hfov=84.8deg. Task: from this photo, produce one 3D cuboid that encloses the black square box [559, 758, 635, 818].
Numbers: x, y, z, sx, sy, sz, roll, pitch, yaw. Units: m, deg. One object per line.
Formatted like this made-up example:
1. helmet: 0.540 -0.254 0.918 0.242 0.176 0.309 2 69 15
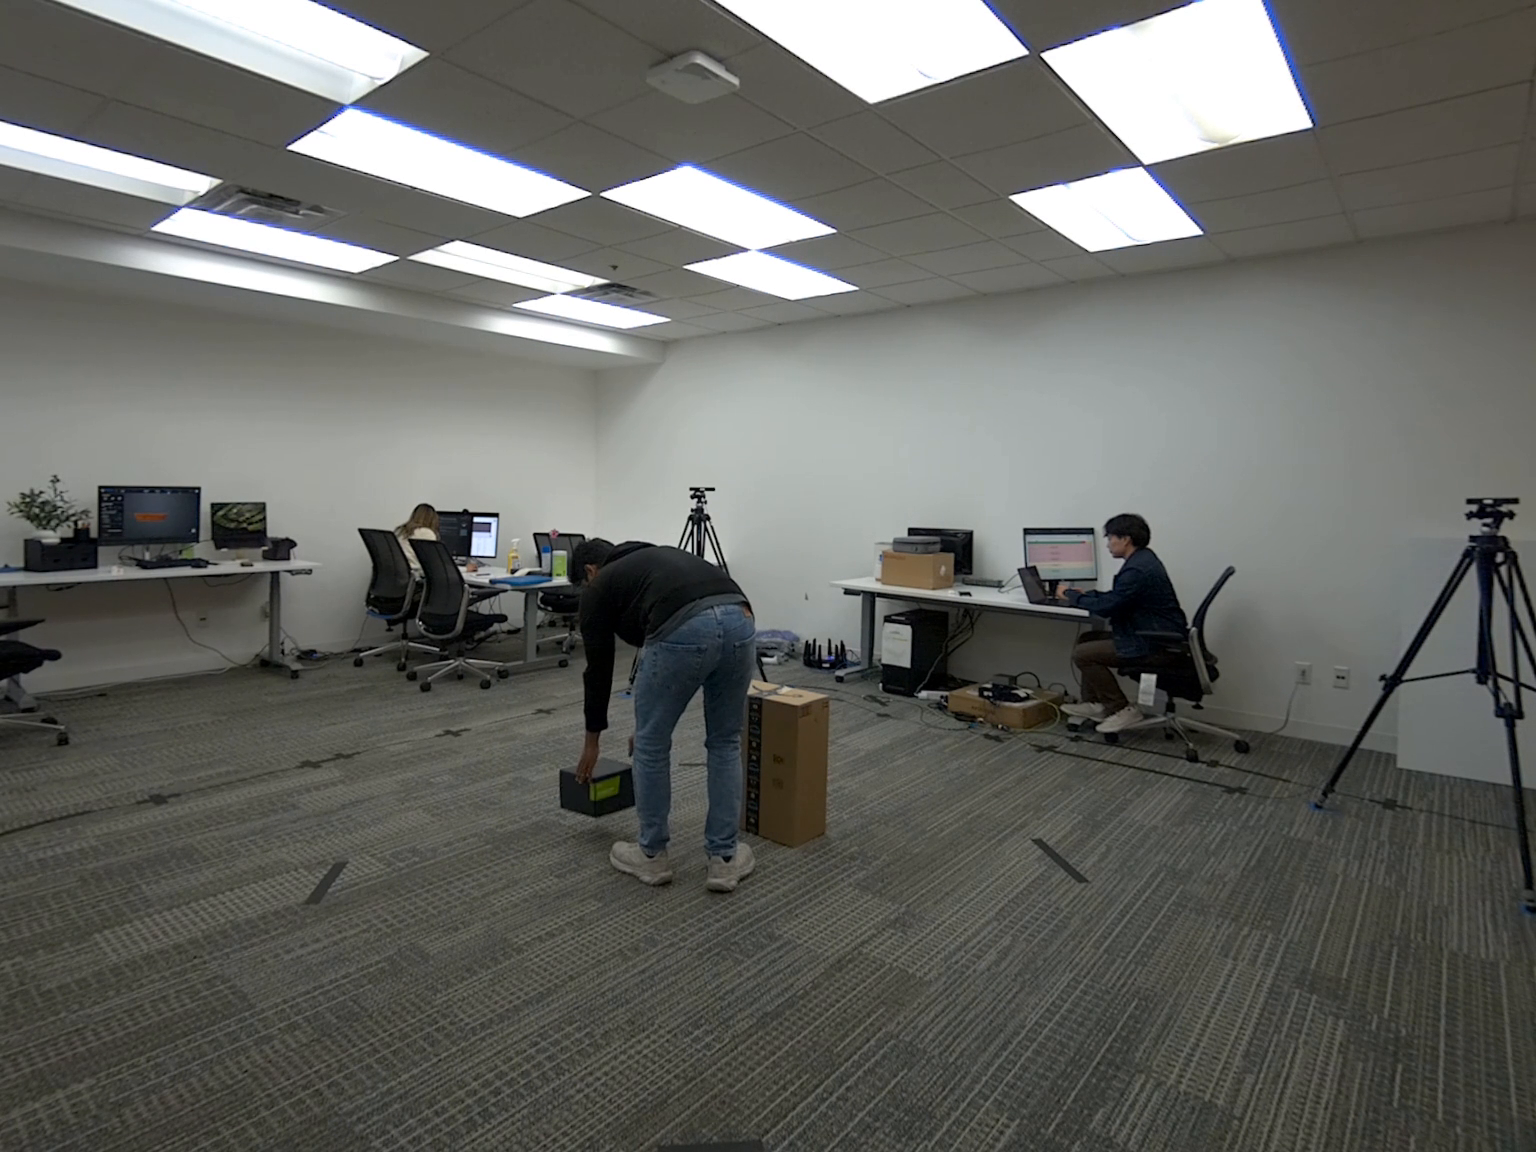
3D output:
1. black square box: -0.681 0.838 3.388 0.224 0.156 0.221 1 2 38
